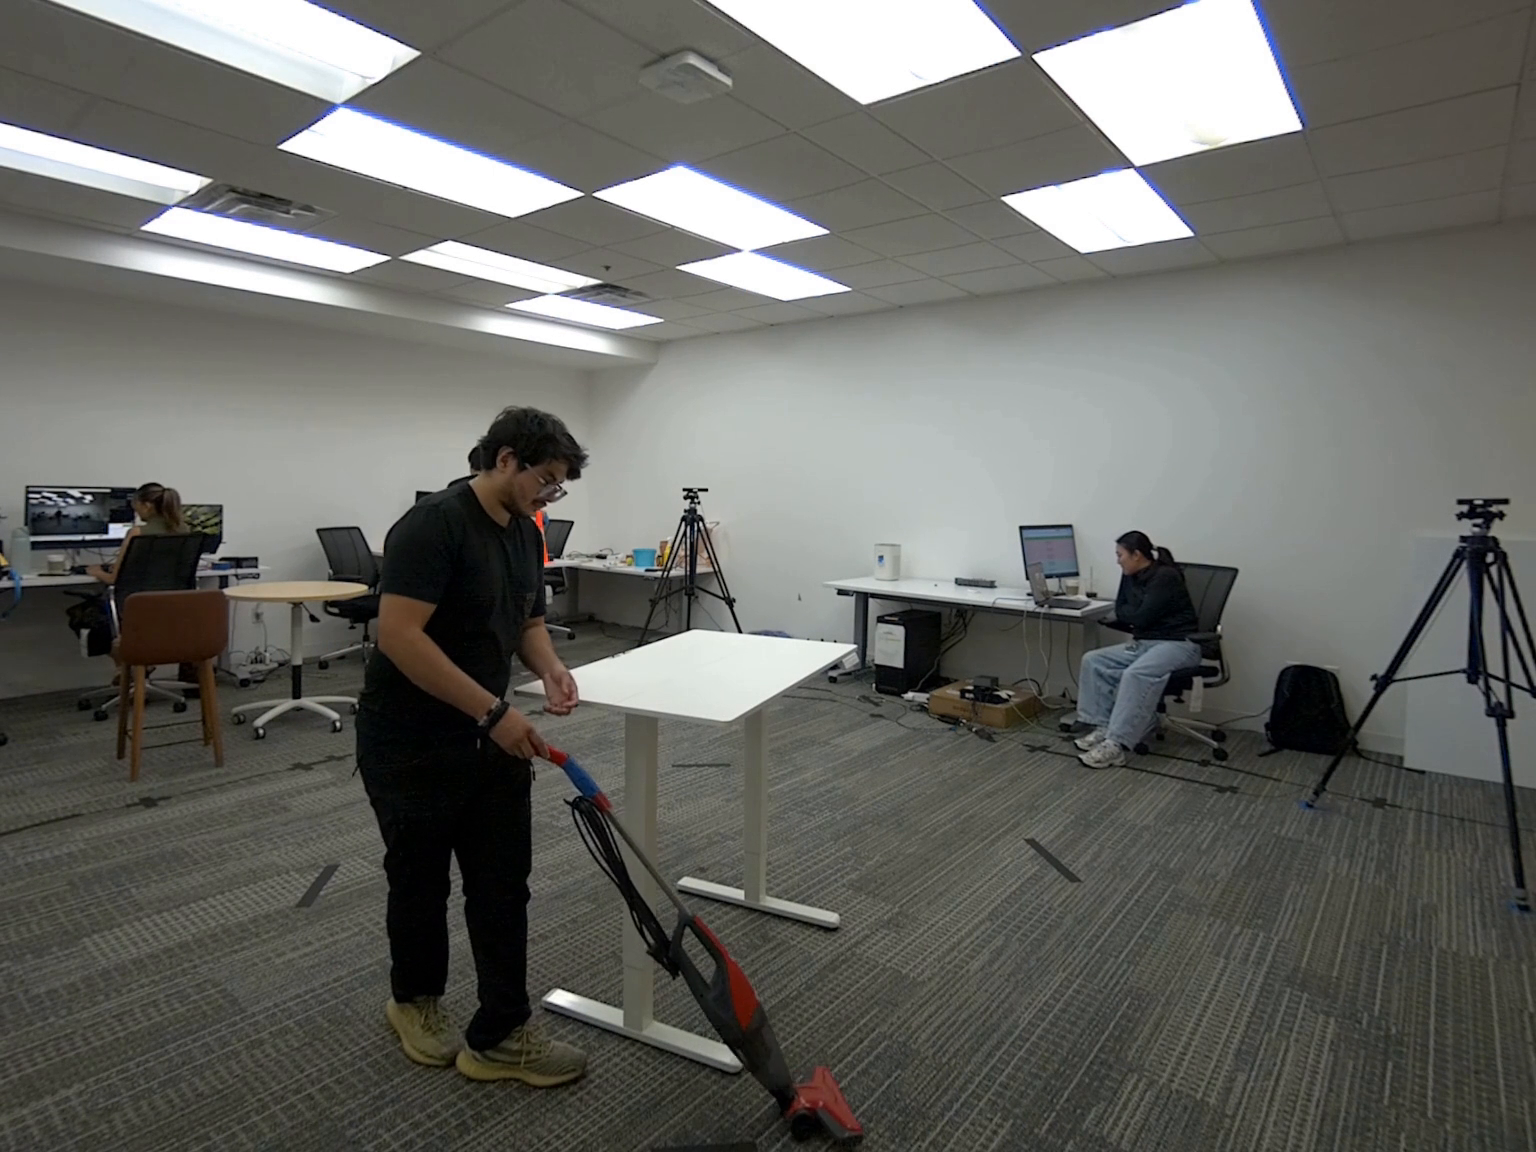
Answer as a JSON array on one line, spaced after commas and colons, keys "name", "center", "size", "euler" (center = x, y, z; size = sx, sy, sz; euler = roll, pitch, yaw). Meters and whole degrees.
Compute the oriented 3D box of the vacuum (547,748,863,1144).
[{"name": "vacuum", "center": [-0.208, 0.770, 1.848], "size": [0.143, 1.043, 0.255], "euler": [-38, 4, -11]}]
